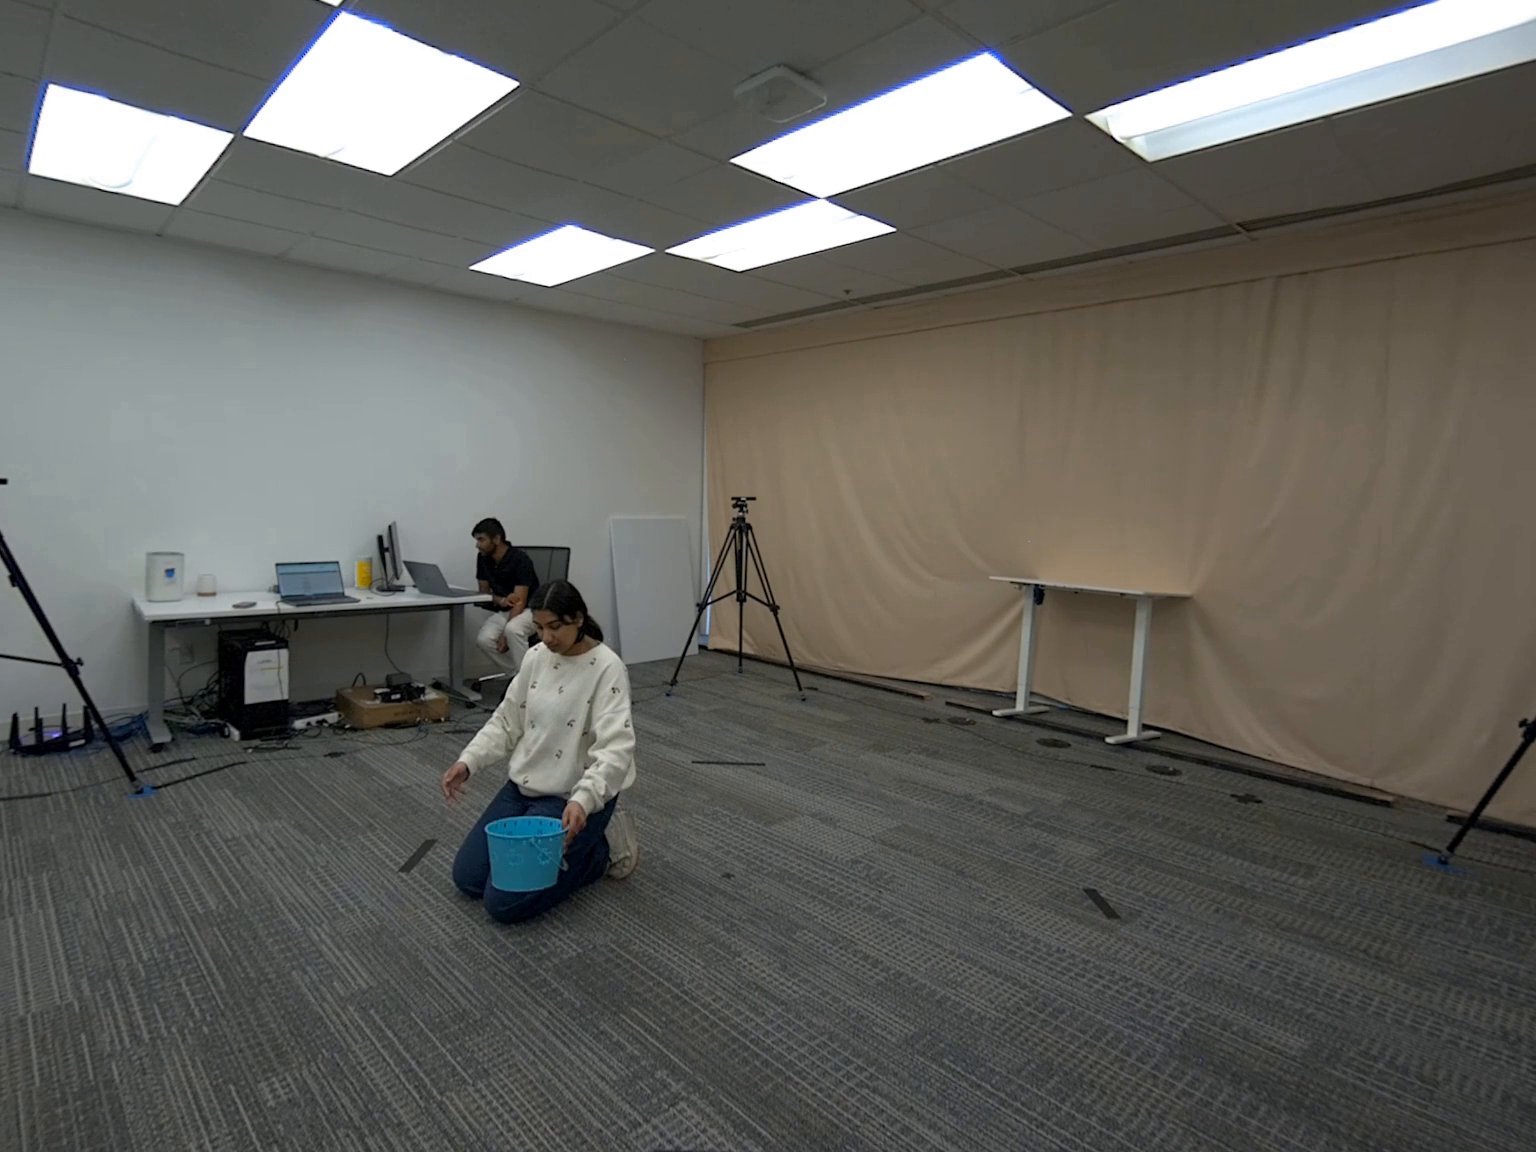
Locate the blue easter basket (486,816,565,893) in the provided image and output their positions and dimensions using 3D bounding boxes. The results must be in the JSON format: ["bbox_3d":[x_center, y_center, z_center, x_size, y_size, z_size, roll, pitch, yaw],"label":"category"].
[{"bbox_3d":[-0.717,0.796,2.405,0.243,0.156,0.243,2,-2,-1],"label":"blue easter basket"}]
